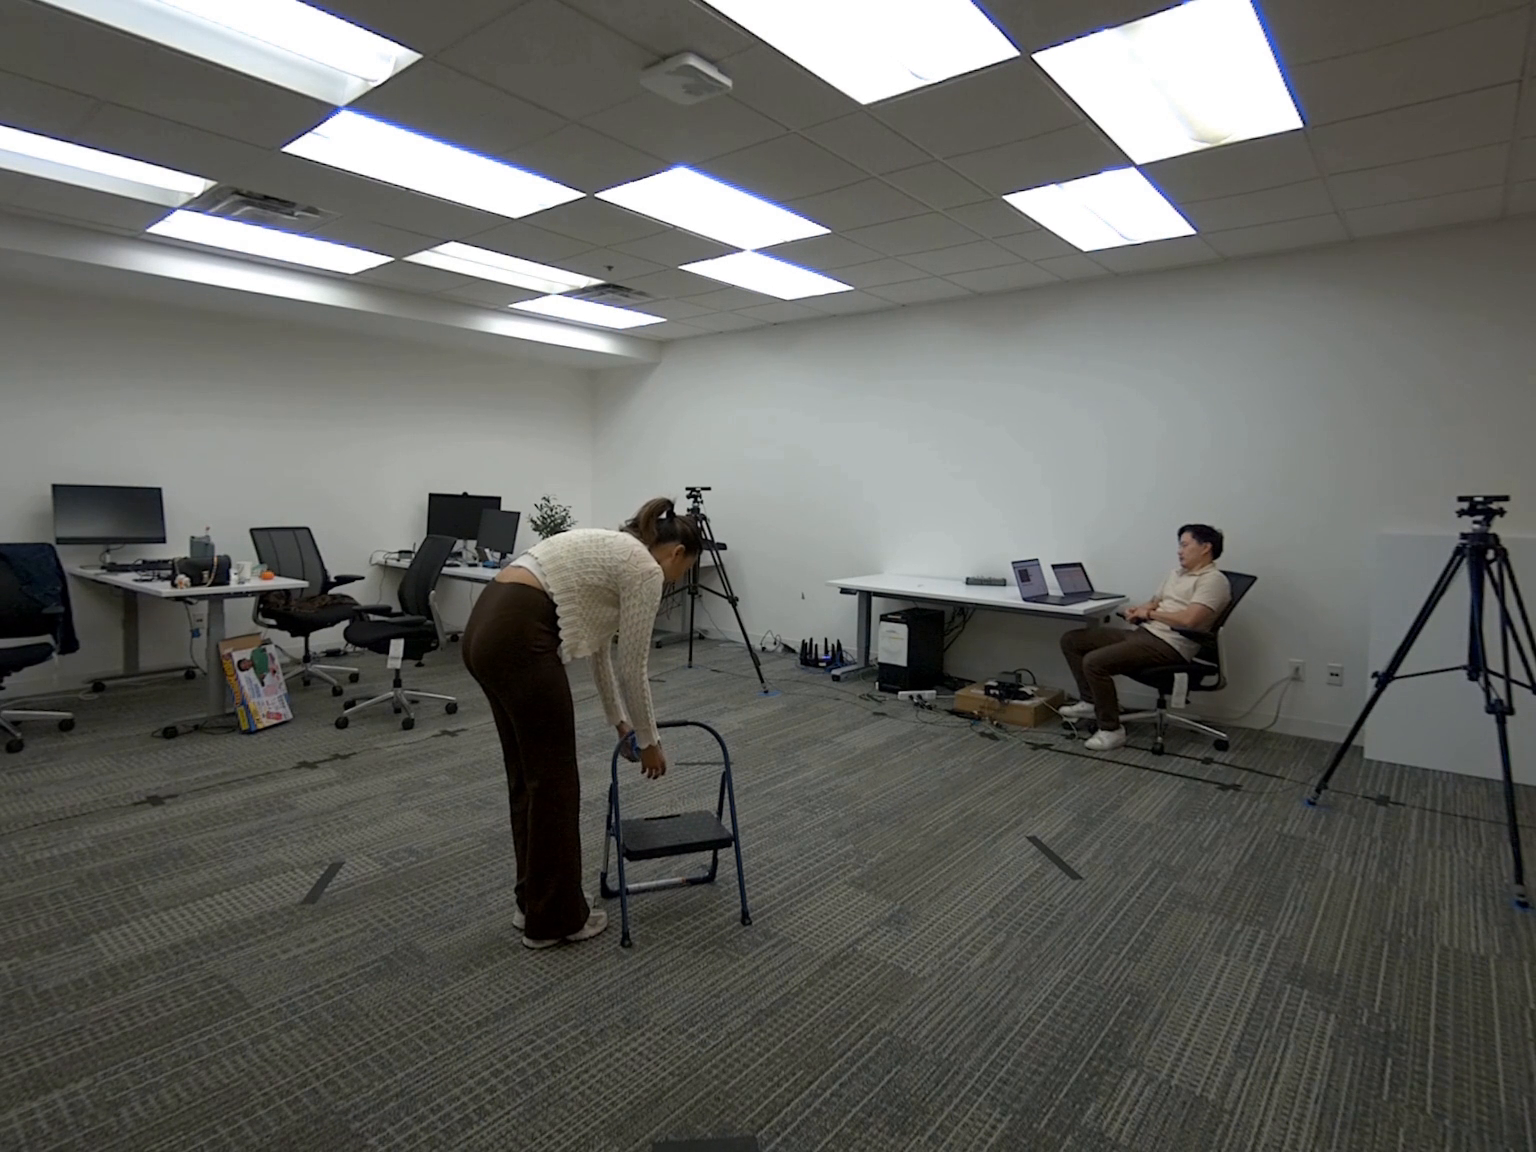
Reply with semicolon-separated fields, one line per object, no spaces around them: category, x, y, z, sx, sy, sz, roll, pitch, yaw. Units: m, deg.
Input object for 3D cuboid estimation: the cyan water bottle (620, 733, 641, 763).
cyan water bottle;-0.475;0.593;2.967;0.090;0.093;0.287;0;-5;-21
